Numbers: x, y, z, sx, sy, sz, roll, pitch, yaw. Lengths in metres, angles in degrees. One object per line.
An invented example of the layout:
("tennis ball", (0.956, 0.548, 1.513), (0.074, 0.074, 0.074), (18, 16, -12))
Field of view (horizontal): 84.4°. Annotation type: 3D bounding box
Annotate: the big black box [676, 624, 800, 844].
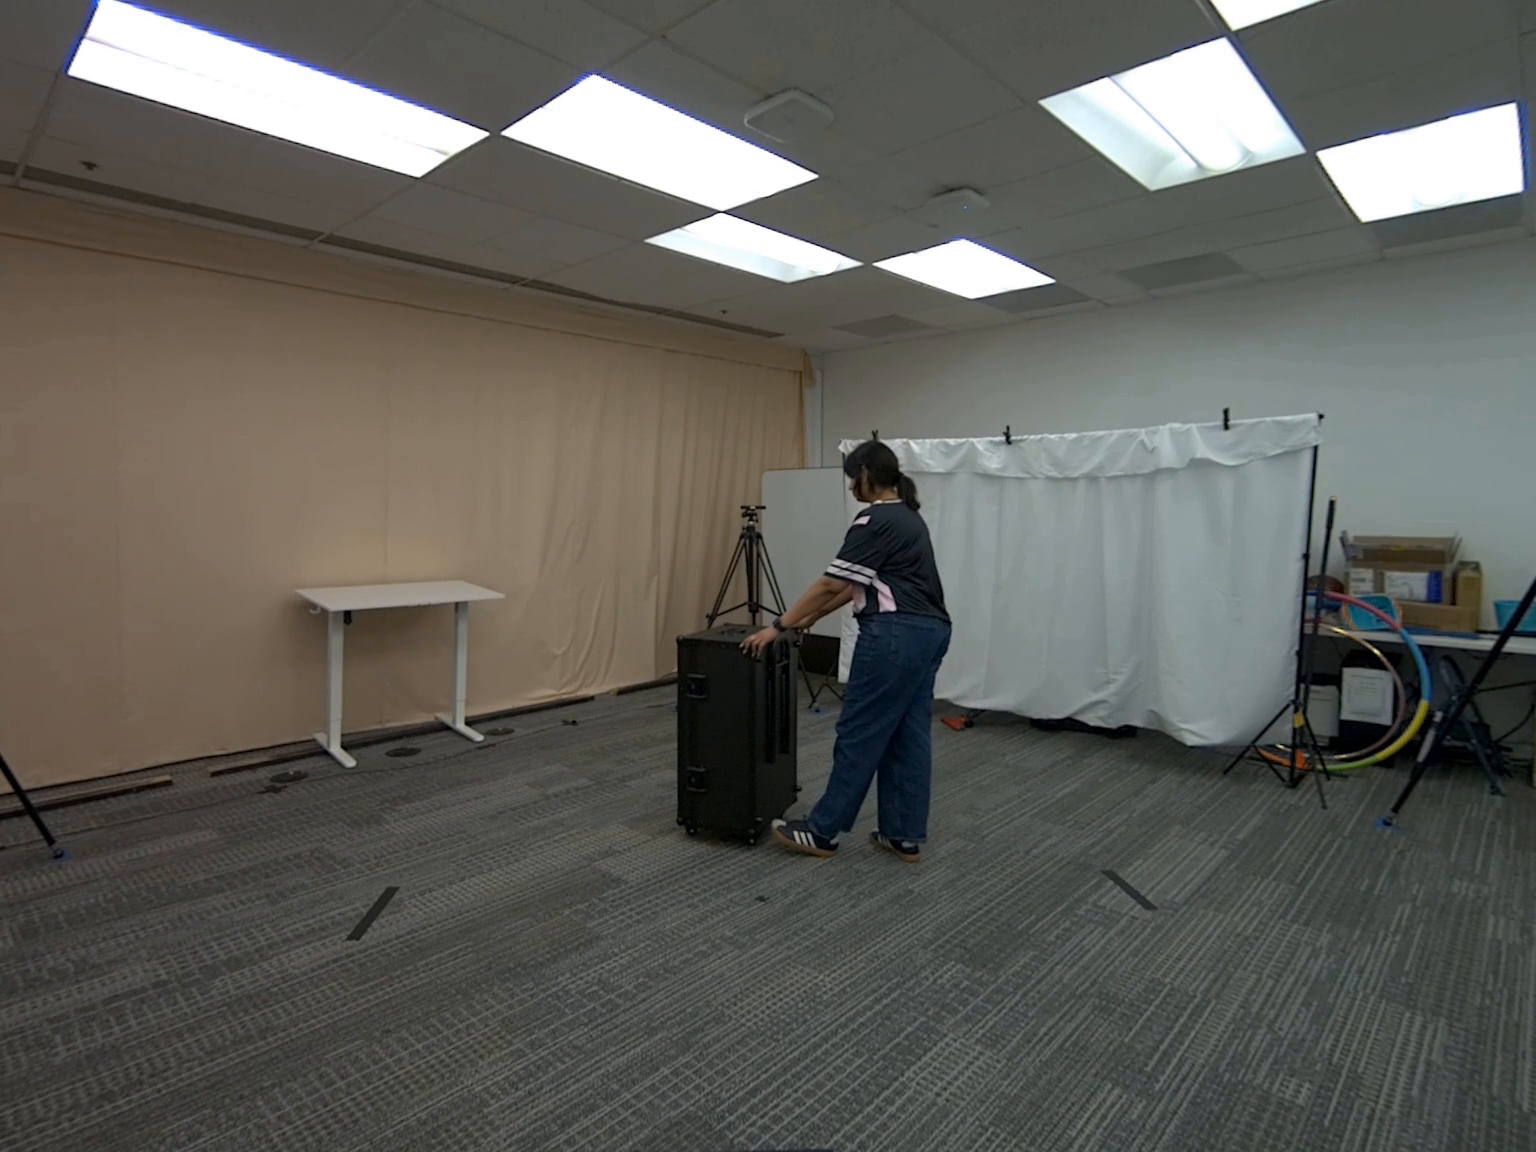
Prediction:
("big black box", (-0.115, 0.671, 3.634), (0.395, 0.867, 0.512), (2, 4, 23))
